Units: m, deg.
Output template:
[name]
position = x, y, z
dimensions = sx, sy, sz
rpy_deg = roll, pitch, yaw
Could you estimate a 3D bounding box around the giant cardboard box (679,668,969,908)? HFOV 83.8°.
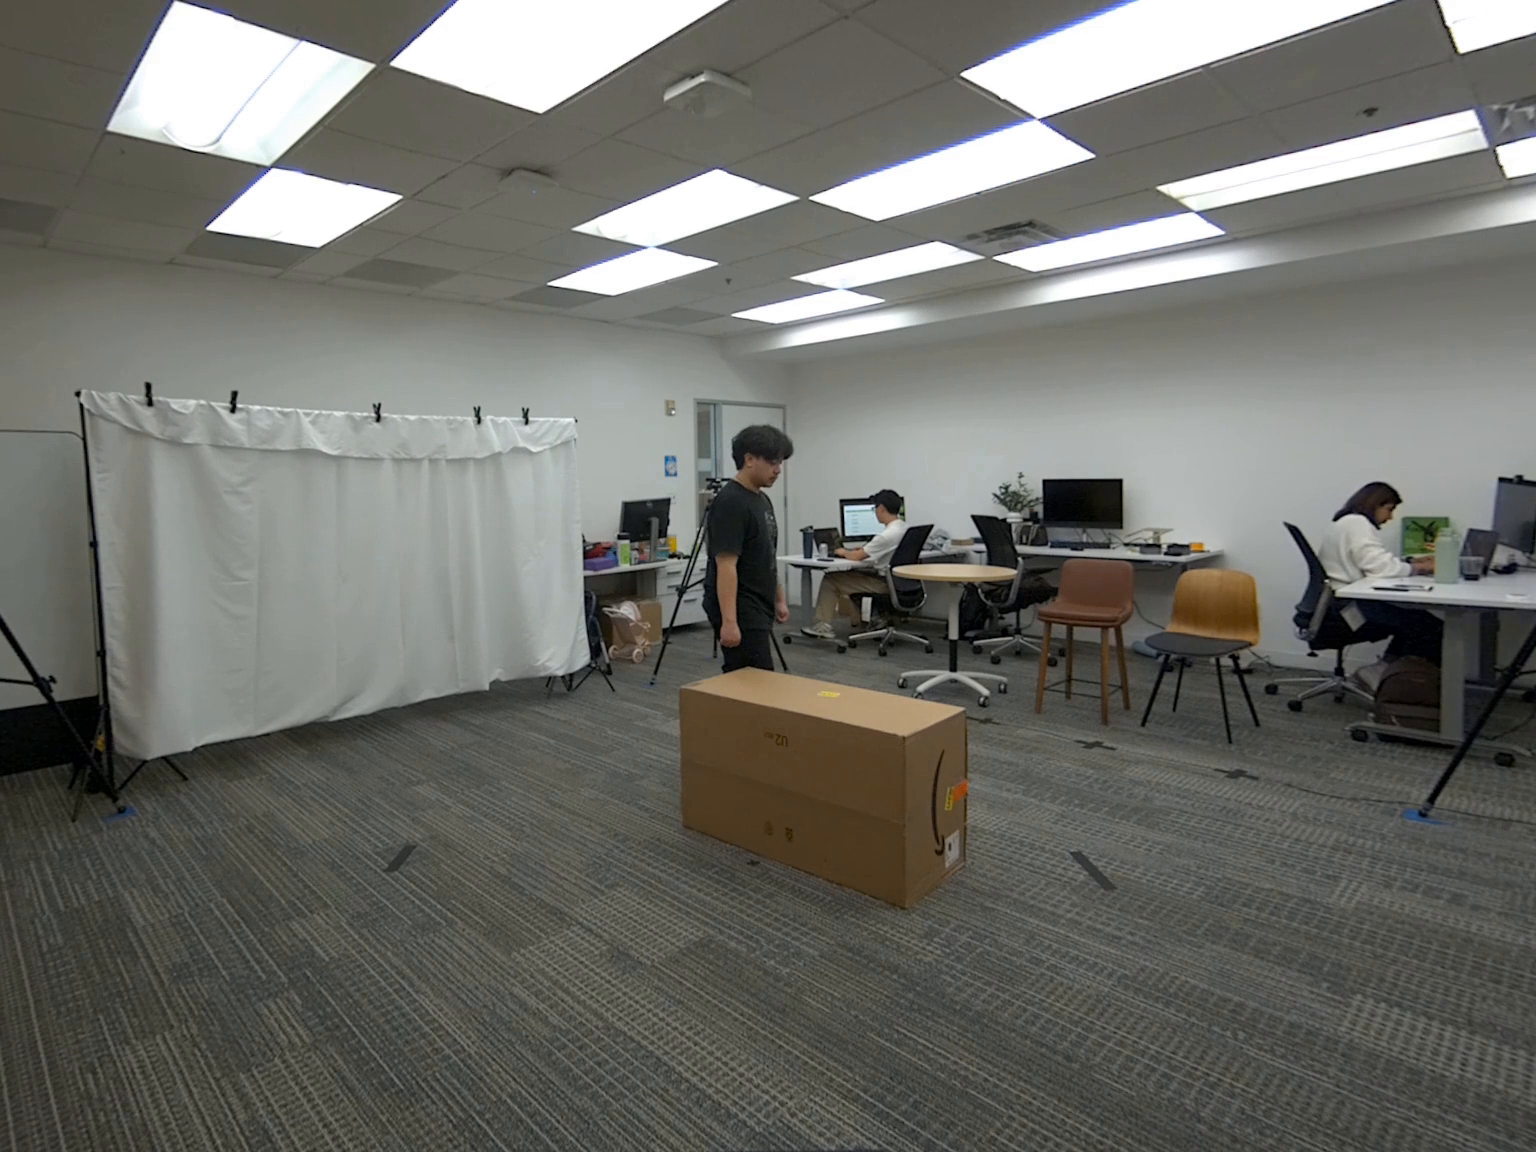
[giant cardboard box]
position = 0.183, 0.741, 3.224
dimensions = 1.058, 0.582, 0.435
rpy_deg = 4, 6, 40
